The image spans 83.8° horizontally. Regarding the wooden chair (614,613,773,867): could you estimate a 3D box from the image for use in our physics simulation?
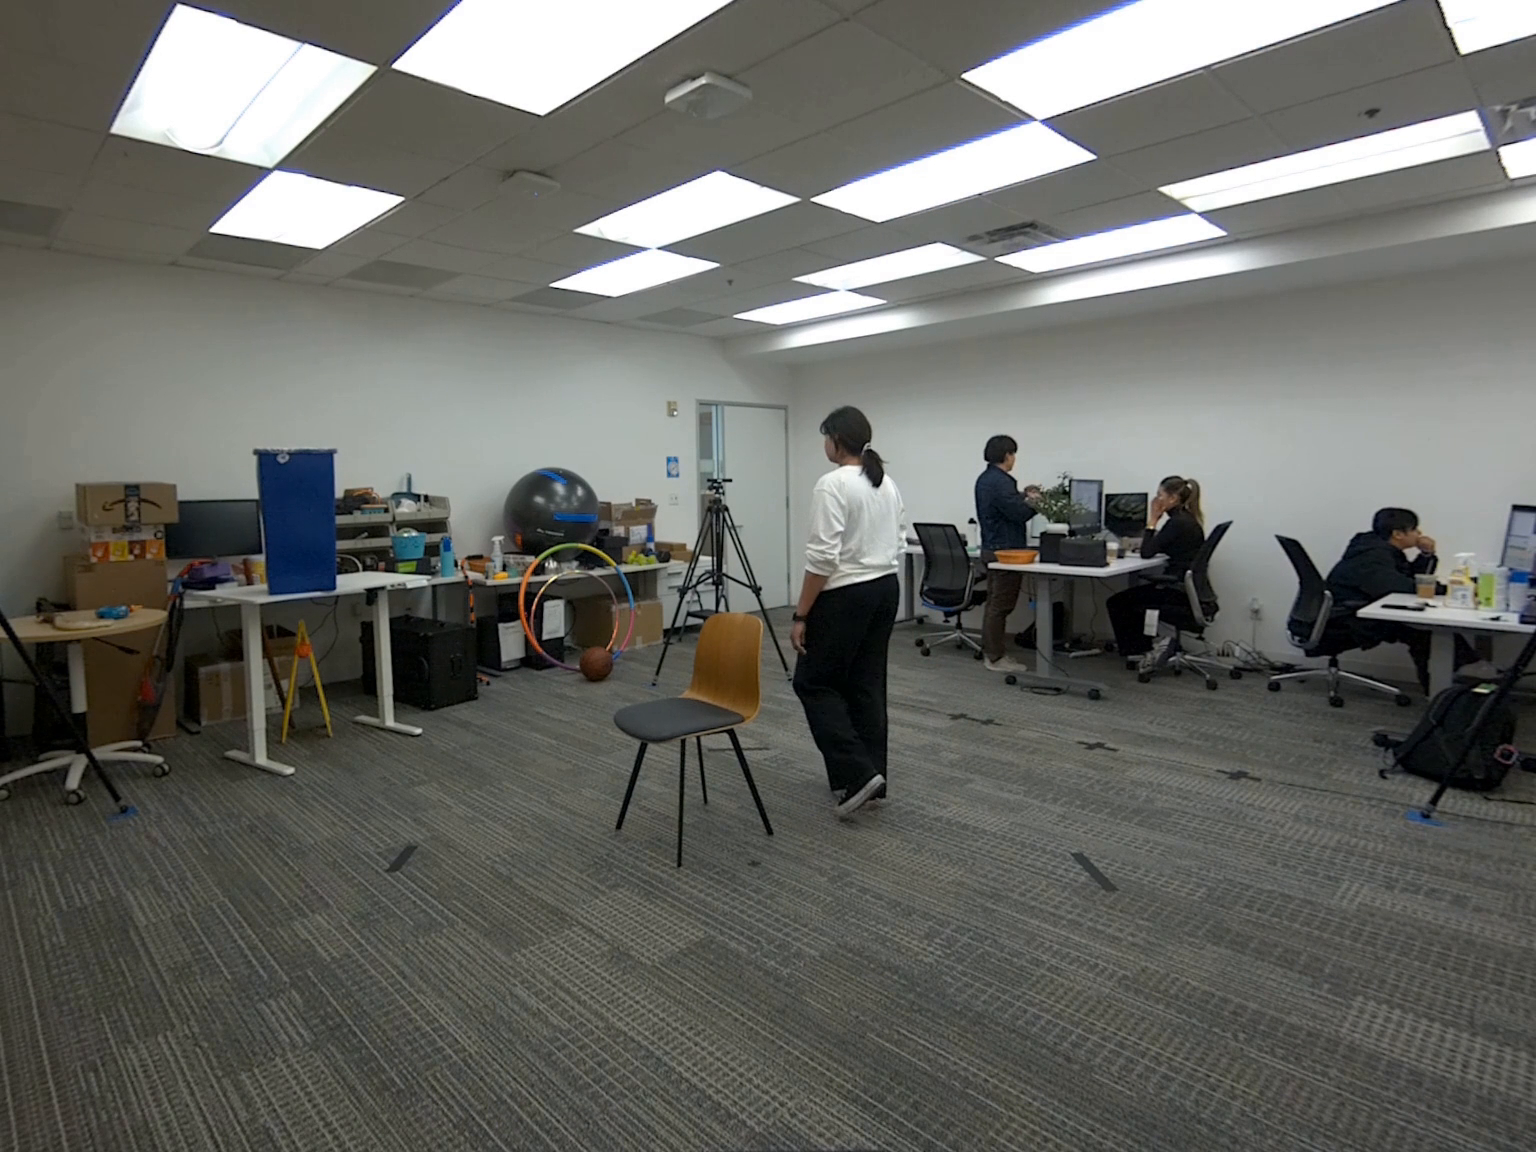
[{"bbox_3d":[-0.307,0.594,3.356,0.508,0.877,0.492,1,2,-39],"label":"wooden chair"}]
